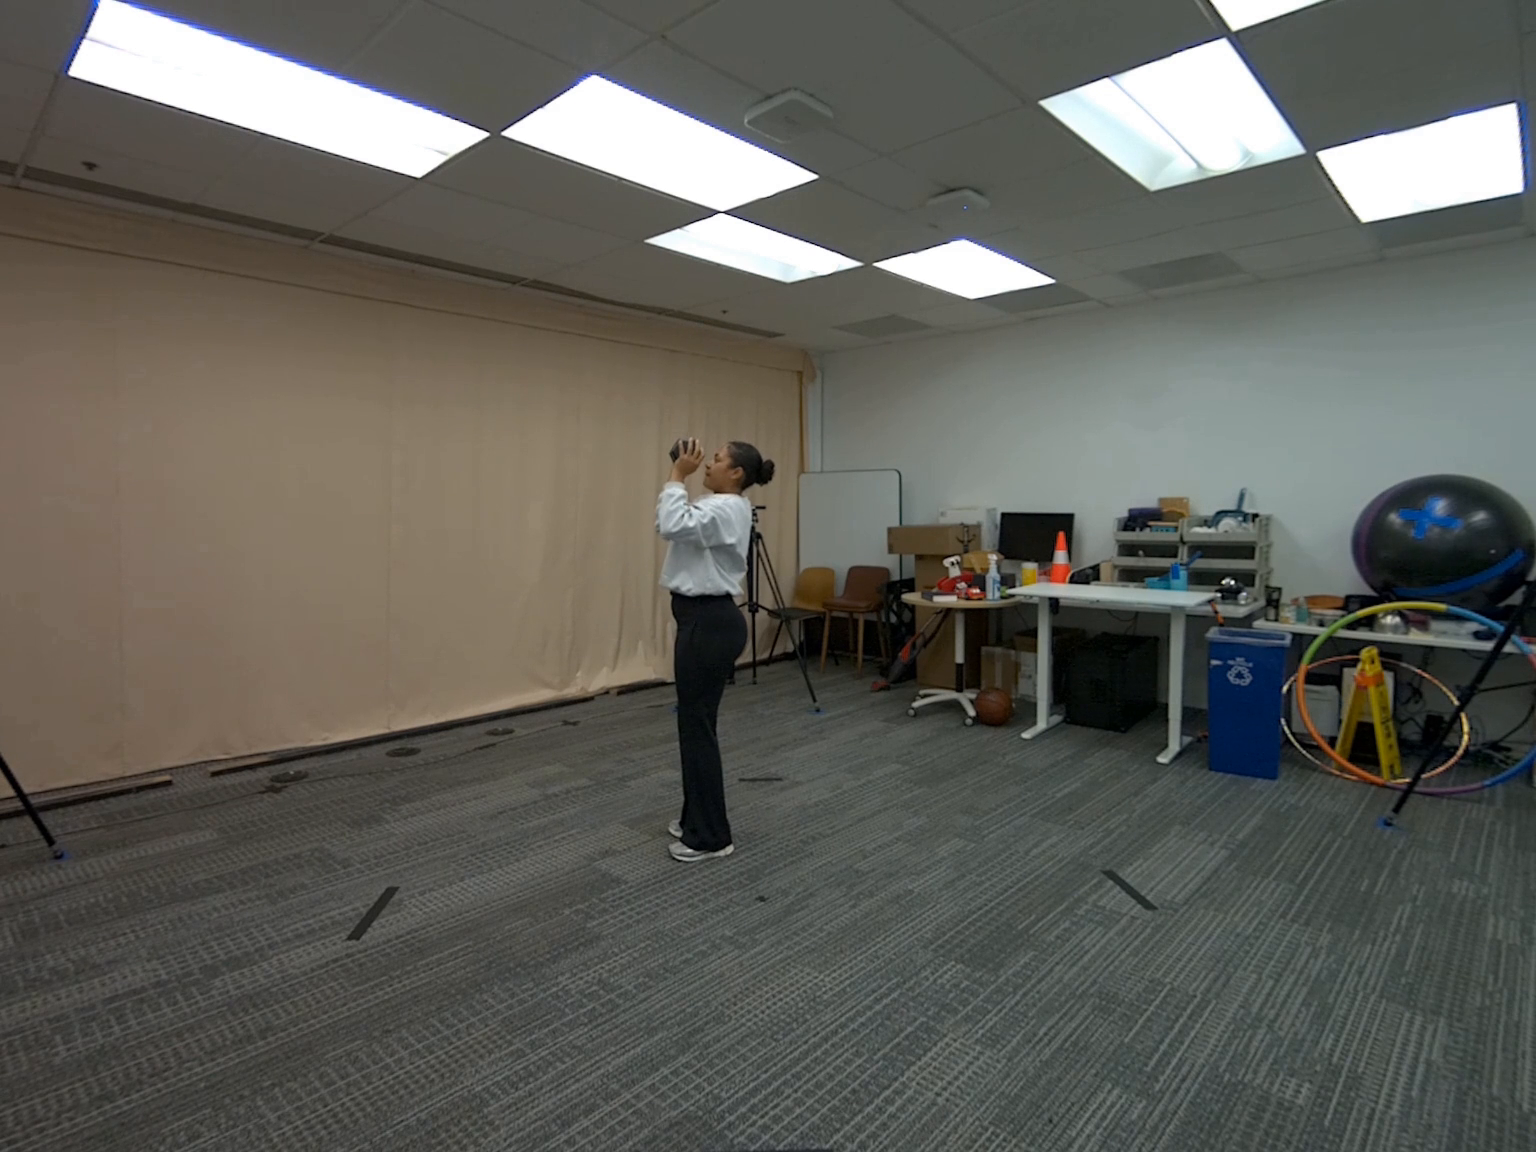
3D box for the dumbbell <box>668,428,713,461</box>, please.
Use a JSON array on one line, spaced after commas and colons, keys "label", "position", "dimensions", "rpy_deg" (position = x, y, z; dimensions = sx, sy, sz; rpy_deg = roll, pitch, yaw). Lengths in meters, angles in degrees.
[{"label": "dumbbell", "position": [-0.317, -0.504, 3.410], "dimensions": [0.108, 0.122, 0.297], "rpy_deg": [-32, 9, -4]}]
